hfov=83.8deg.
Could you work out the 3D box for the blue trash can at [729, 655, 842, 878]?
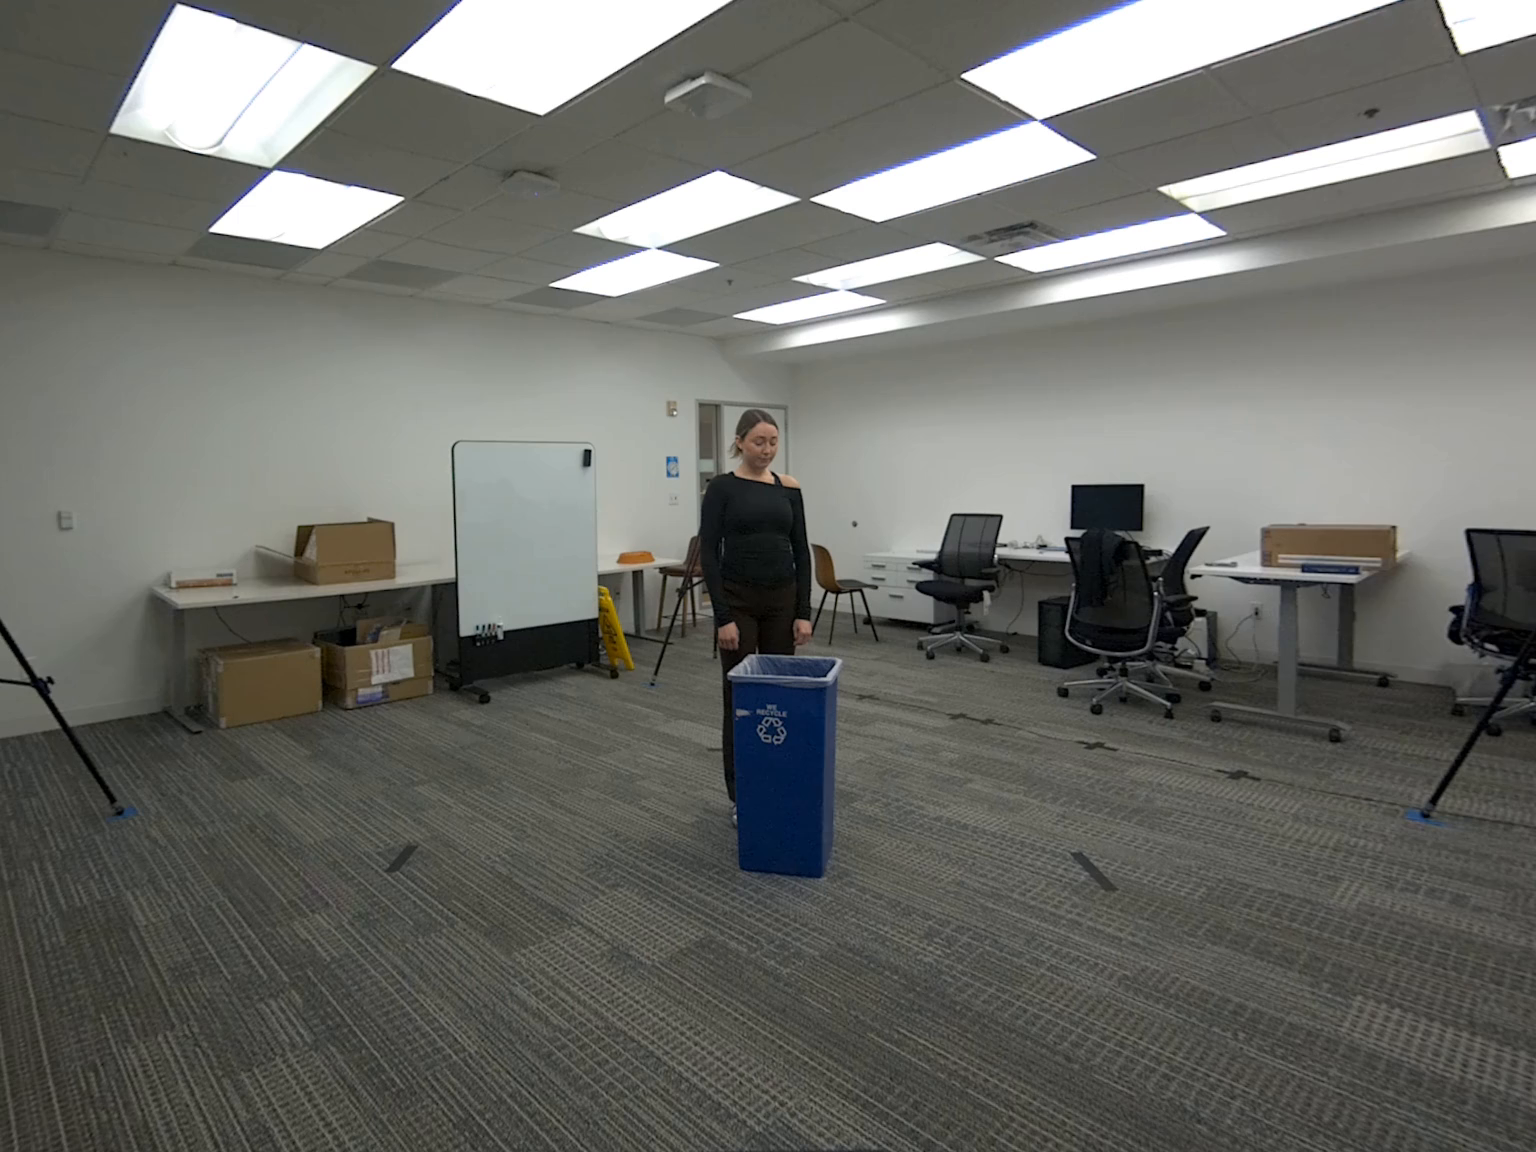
[{"bbox_3d":[0.077,0.683,3.136,0.379,0.711,0.374,0,4,13],"label":"blue trash can"}]
